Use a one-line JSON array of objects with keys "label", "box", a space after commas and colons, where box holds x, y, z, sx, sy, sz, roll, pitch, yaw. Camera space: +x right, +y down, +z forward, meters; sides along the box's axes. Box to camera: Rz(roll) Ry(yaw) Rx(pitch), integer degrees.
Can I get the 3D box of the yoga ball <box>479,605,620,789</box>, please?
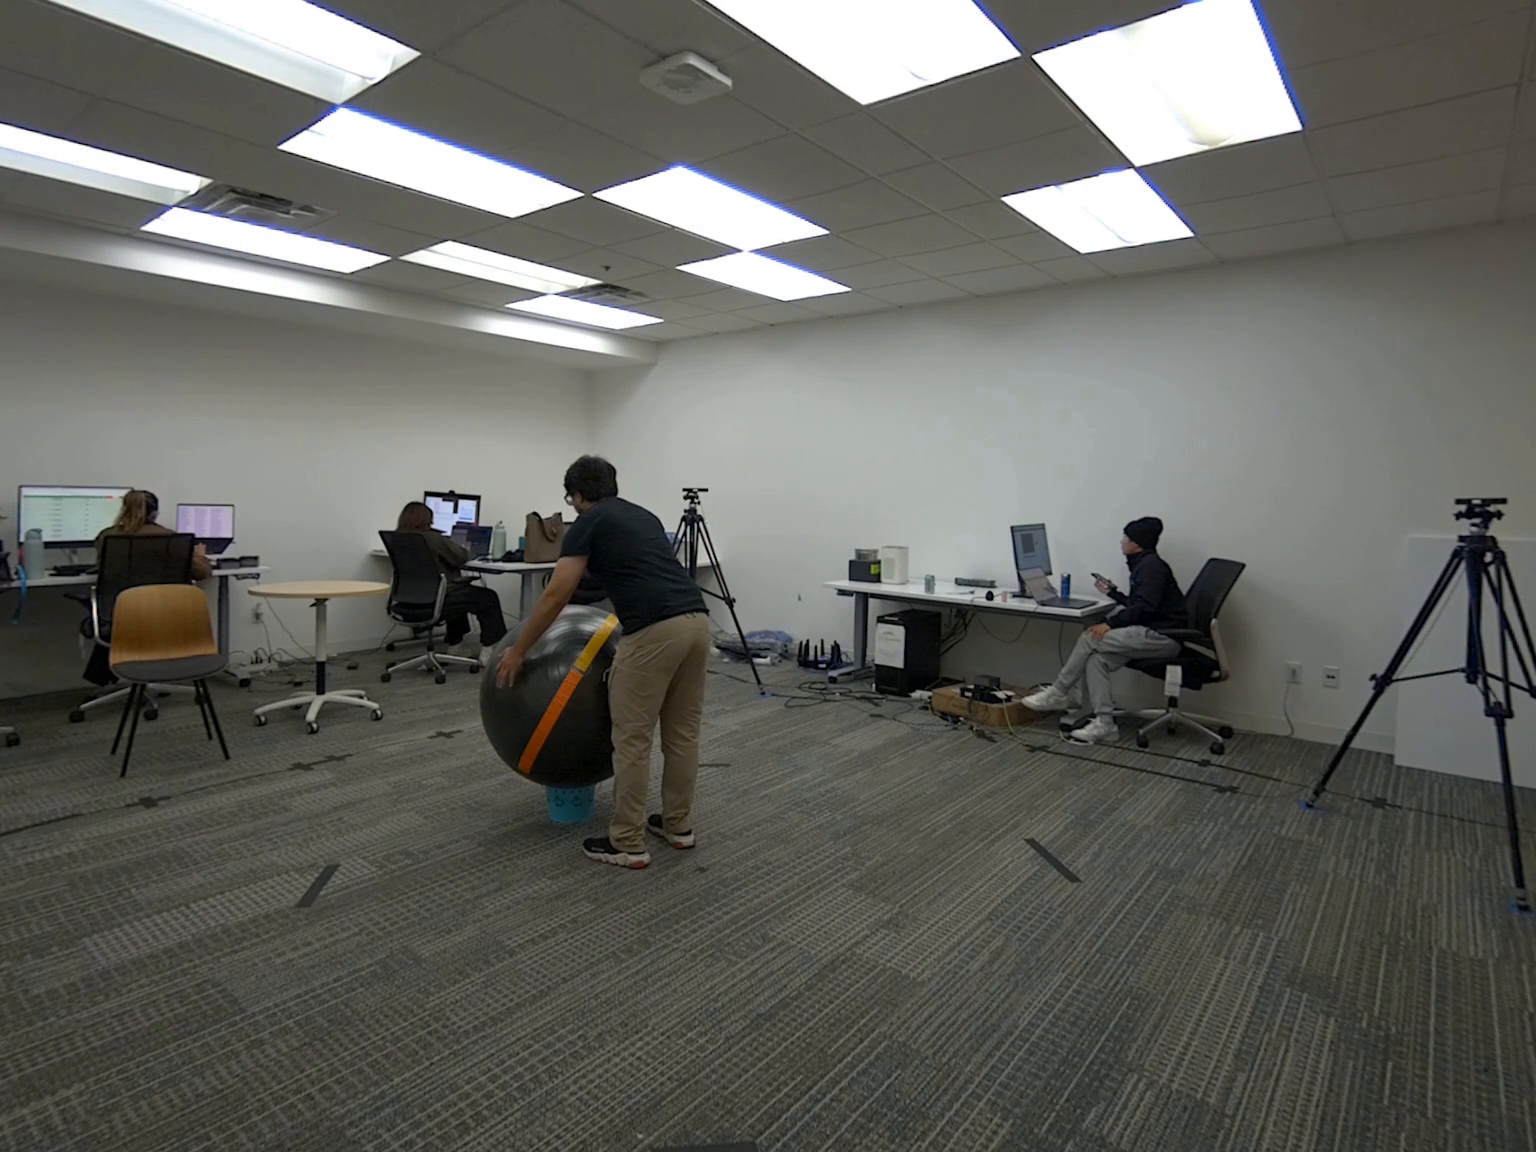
[{"label": "yoga ball", "box": [-0.846, 0.503, 3.596, 0.757, 0.756, 0.762, 1, 4, -2]}]
